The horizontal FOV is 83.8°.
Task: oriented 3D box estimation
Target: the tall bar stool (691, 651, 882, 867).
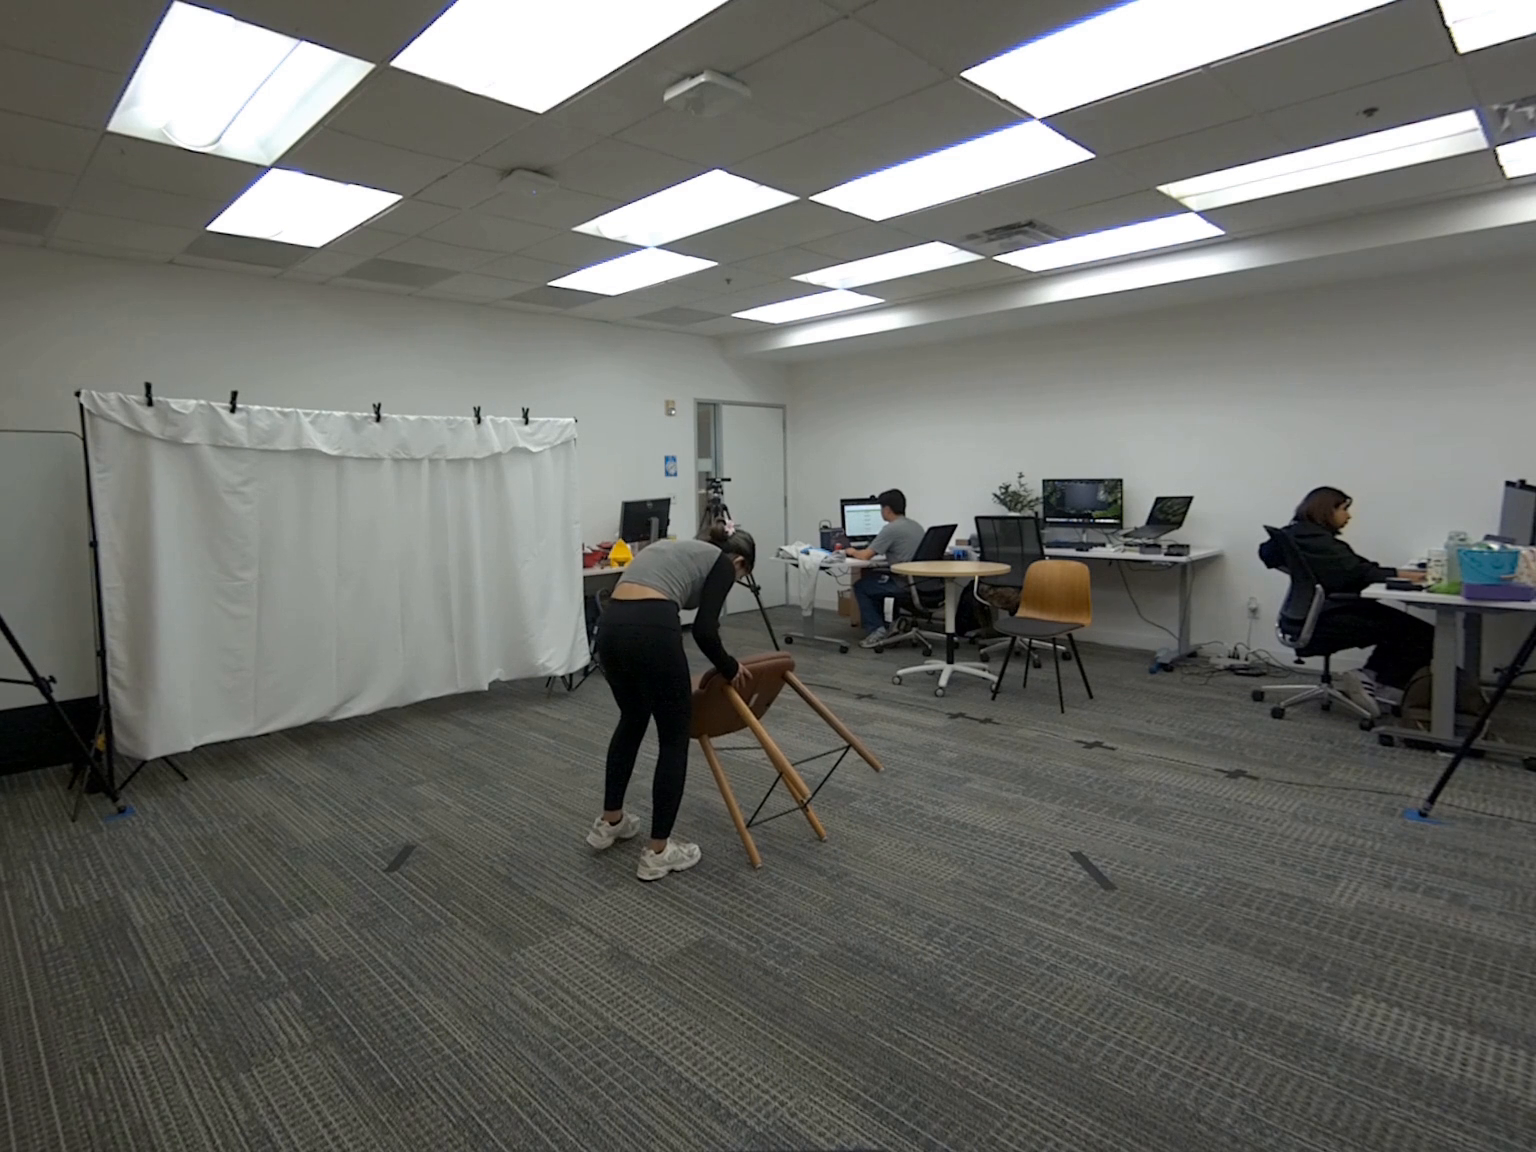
[{"bbox_3d":[-0.057,0.585,3.309,0.444,0.463,0.923,-5,43,-40],"label":"tall bar stool"}]
